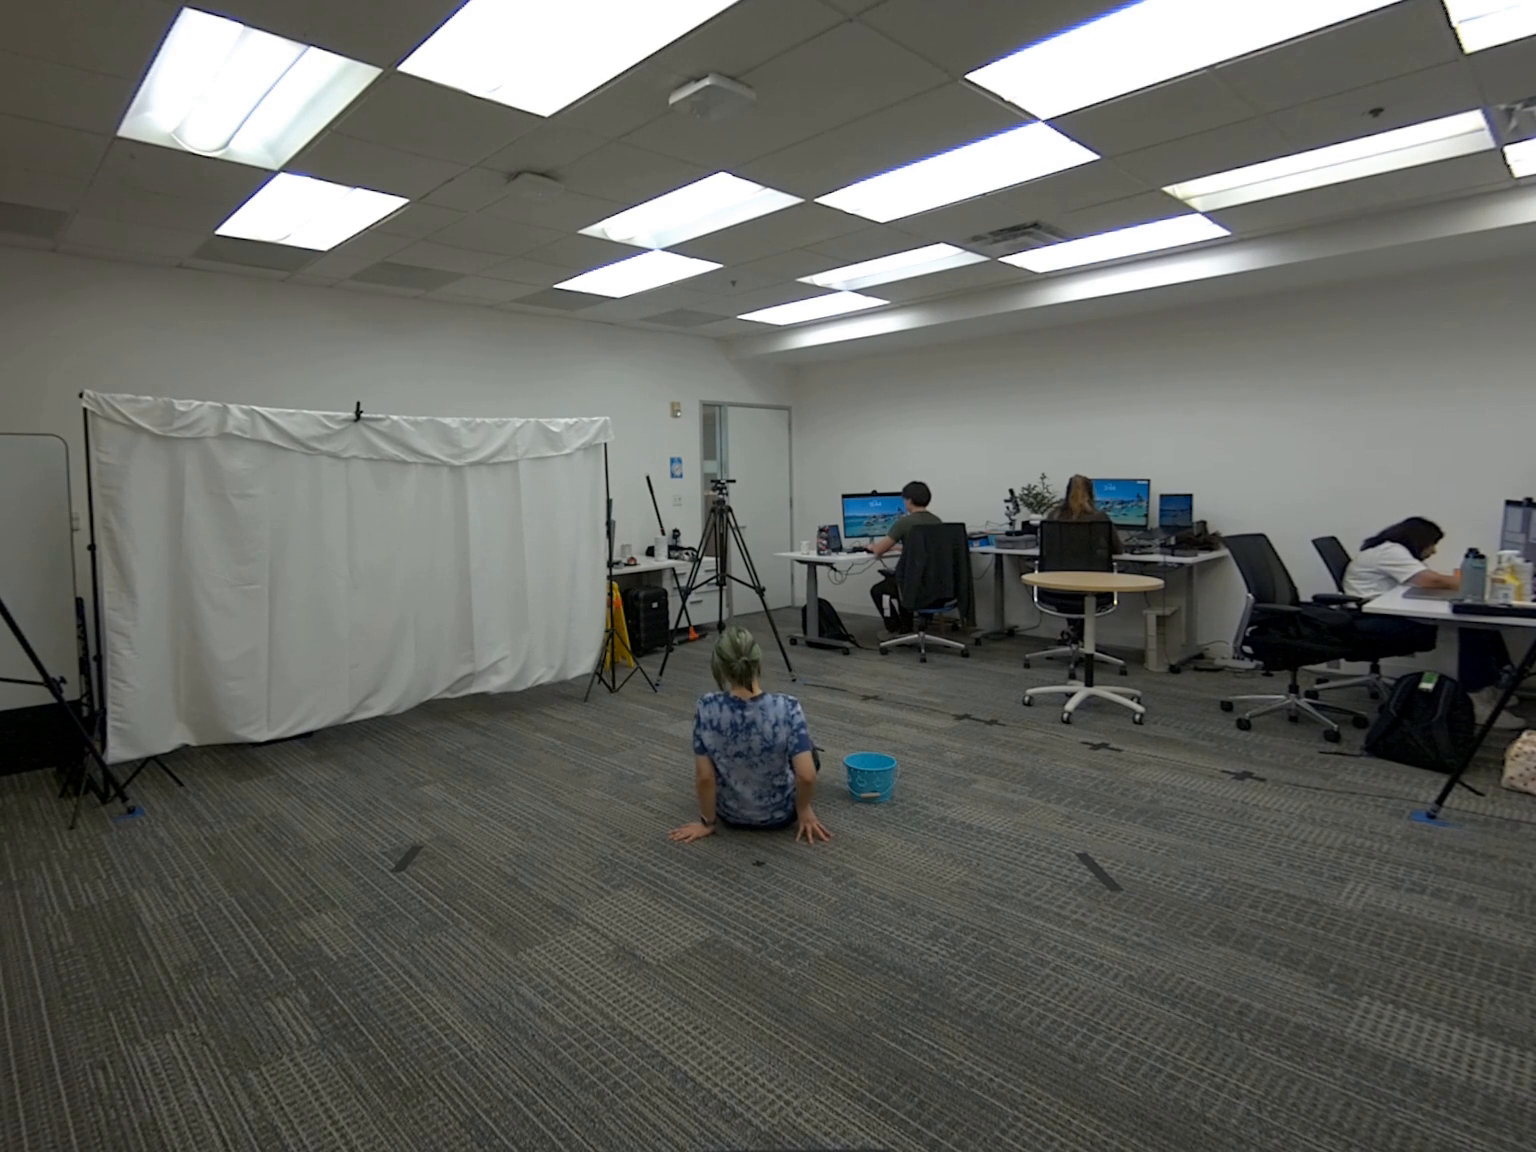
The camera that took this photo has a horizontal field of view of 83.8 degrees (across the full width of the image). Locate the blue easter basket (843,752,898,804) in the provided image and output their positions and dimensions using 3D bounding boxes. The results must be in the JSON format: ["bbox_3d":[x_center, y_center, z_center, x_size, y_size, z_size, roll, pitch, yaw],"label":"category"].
[{"bbox_3d":[0.447,0.879,3.760,0.243,0.155,0.245,-1,5,-2],"label":"blue easter basket"}]
